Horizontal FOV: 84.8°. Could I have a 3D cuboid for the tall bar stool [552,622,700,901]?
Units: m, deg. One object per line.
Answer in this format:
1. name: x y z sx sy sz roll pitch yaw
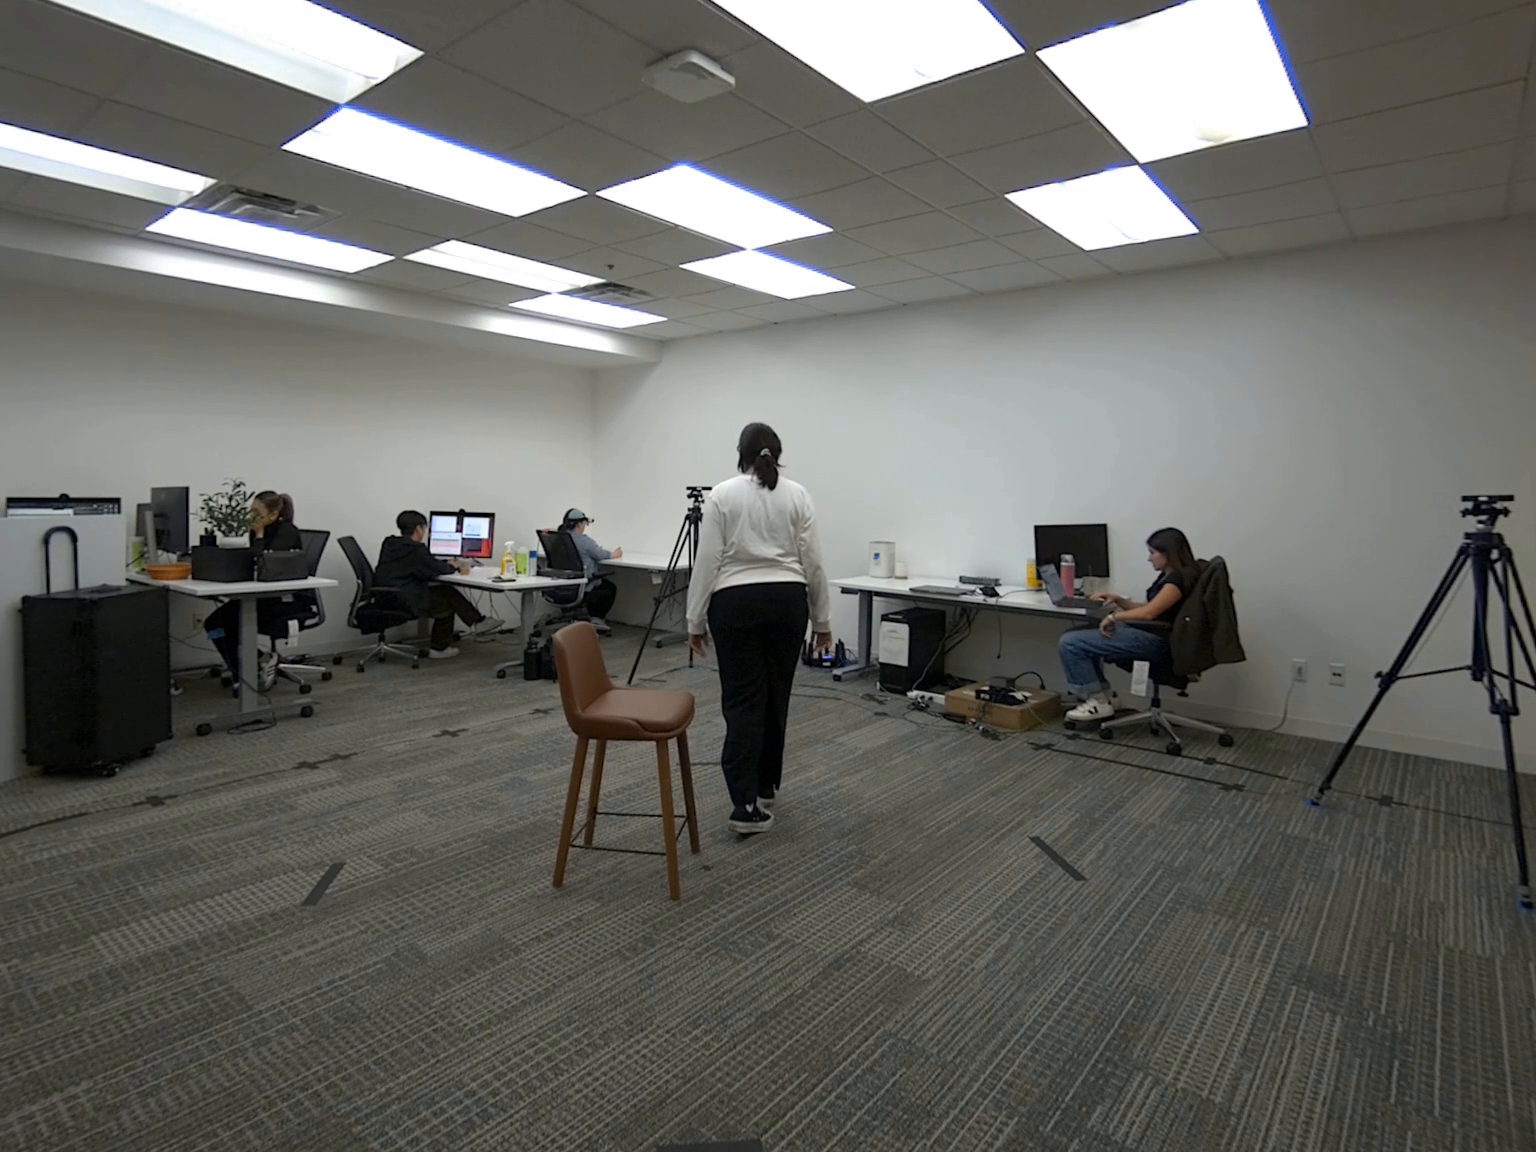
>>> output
1. tall bar stool: -0.506 0.630 3.069 0.472 0.888 0.453 0 3 8
